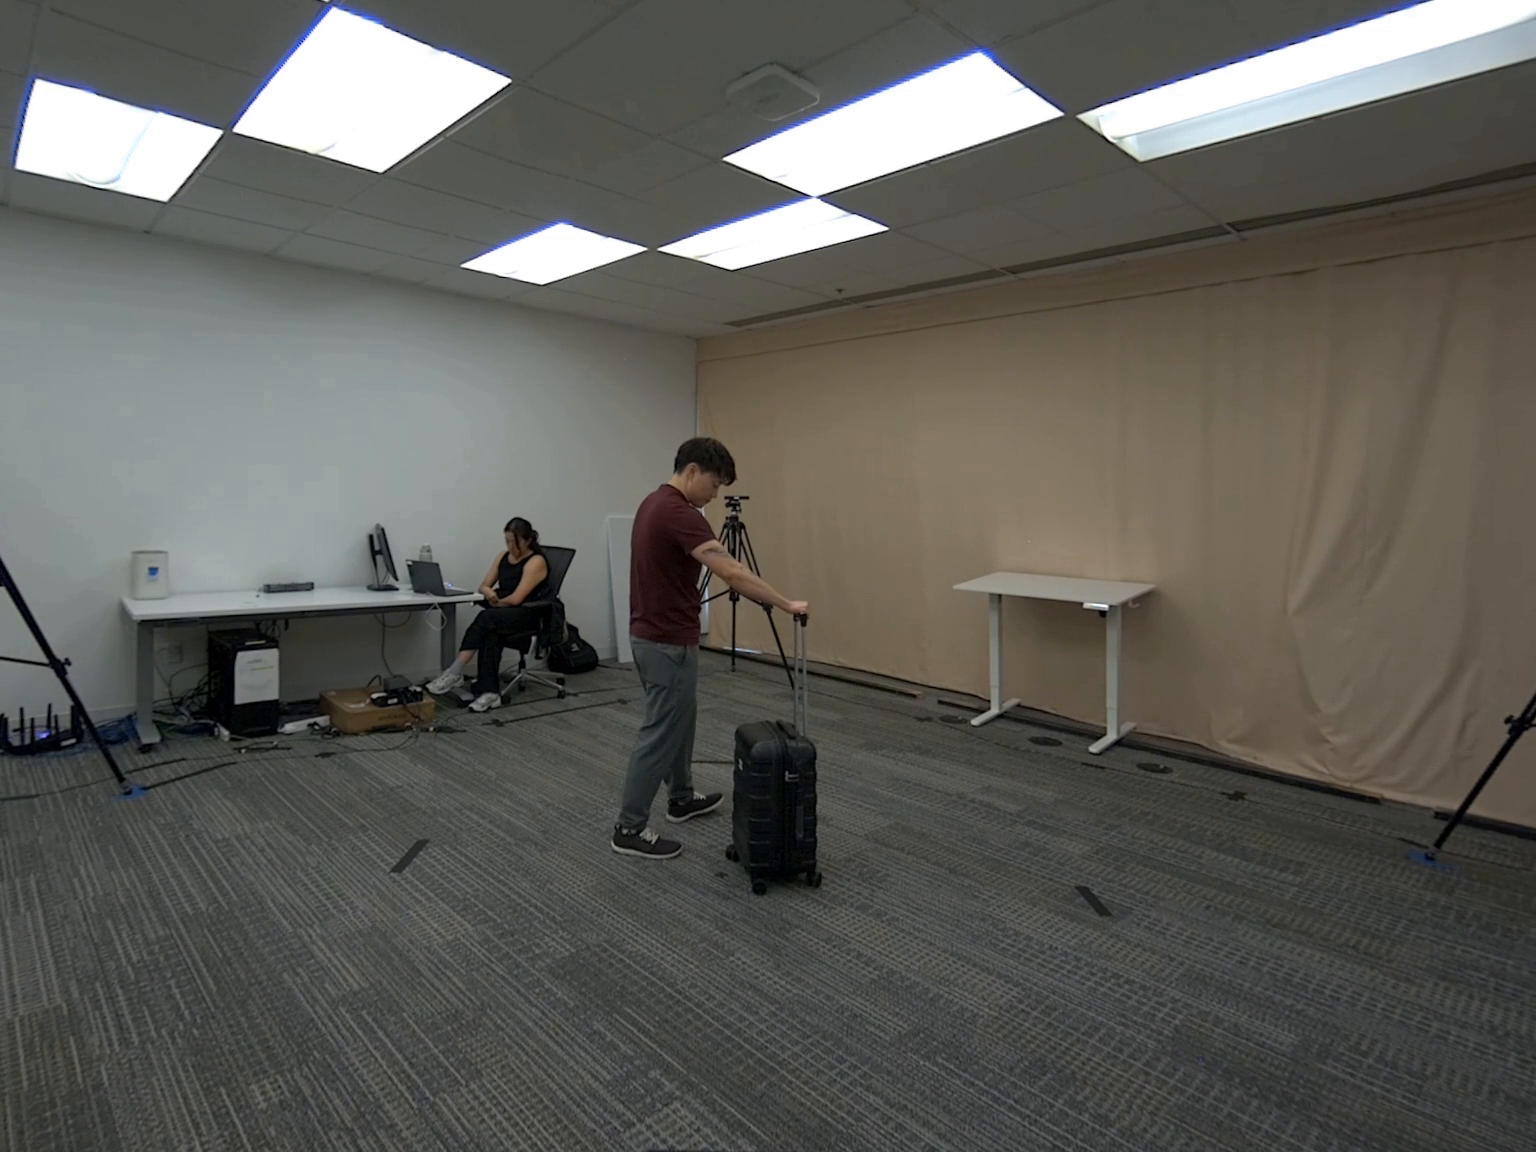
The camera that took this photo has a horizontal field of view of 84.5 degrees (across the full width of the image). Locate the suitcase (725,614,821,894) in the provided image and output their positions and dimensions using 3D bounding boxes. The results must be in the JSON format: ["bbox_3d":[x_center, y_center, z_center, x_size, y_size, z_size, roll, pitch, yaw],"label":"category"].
[{"bbox_3d":[0.012,0.631,3.100,0.254,0.976,0.389,-1,3,-13],"label":"suitcase"}]
